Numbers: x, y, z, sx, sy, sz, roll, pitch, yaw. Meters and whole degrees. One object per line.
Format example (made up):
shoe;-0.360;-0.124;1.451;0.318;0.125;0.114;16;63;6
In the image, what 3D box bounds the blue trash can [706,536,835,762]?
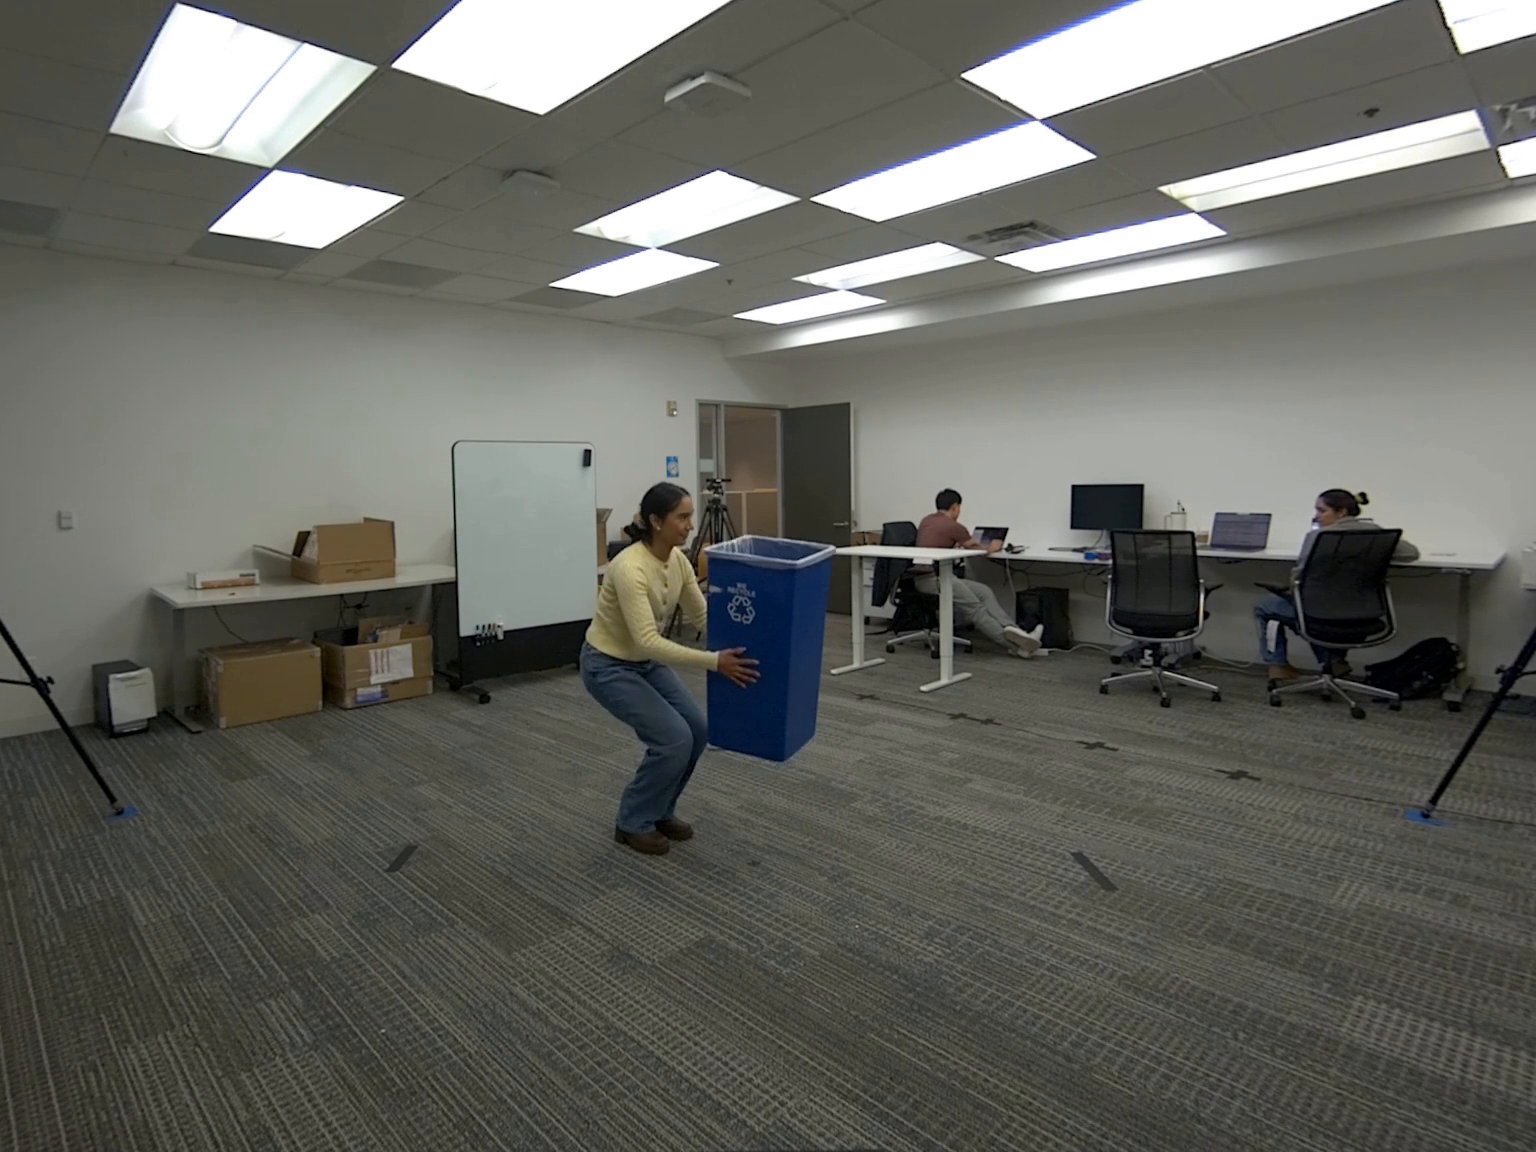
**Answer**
blue trash can;-0.001;0.249;3.053;0.383;0.707;0.372;6;11;25
